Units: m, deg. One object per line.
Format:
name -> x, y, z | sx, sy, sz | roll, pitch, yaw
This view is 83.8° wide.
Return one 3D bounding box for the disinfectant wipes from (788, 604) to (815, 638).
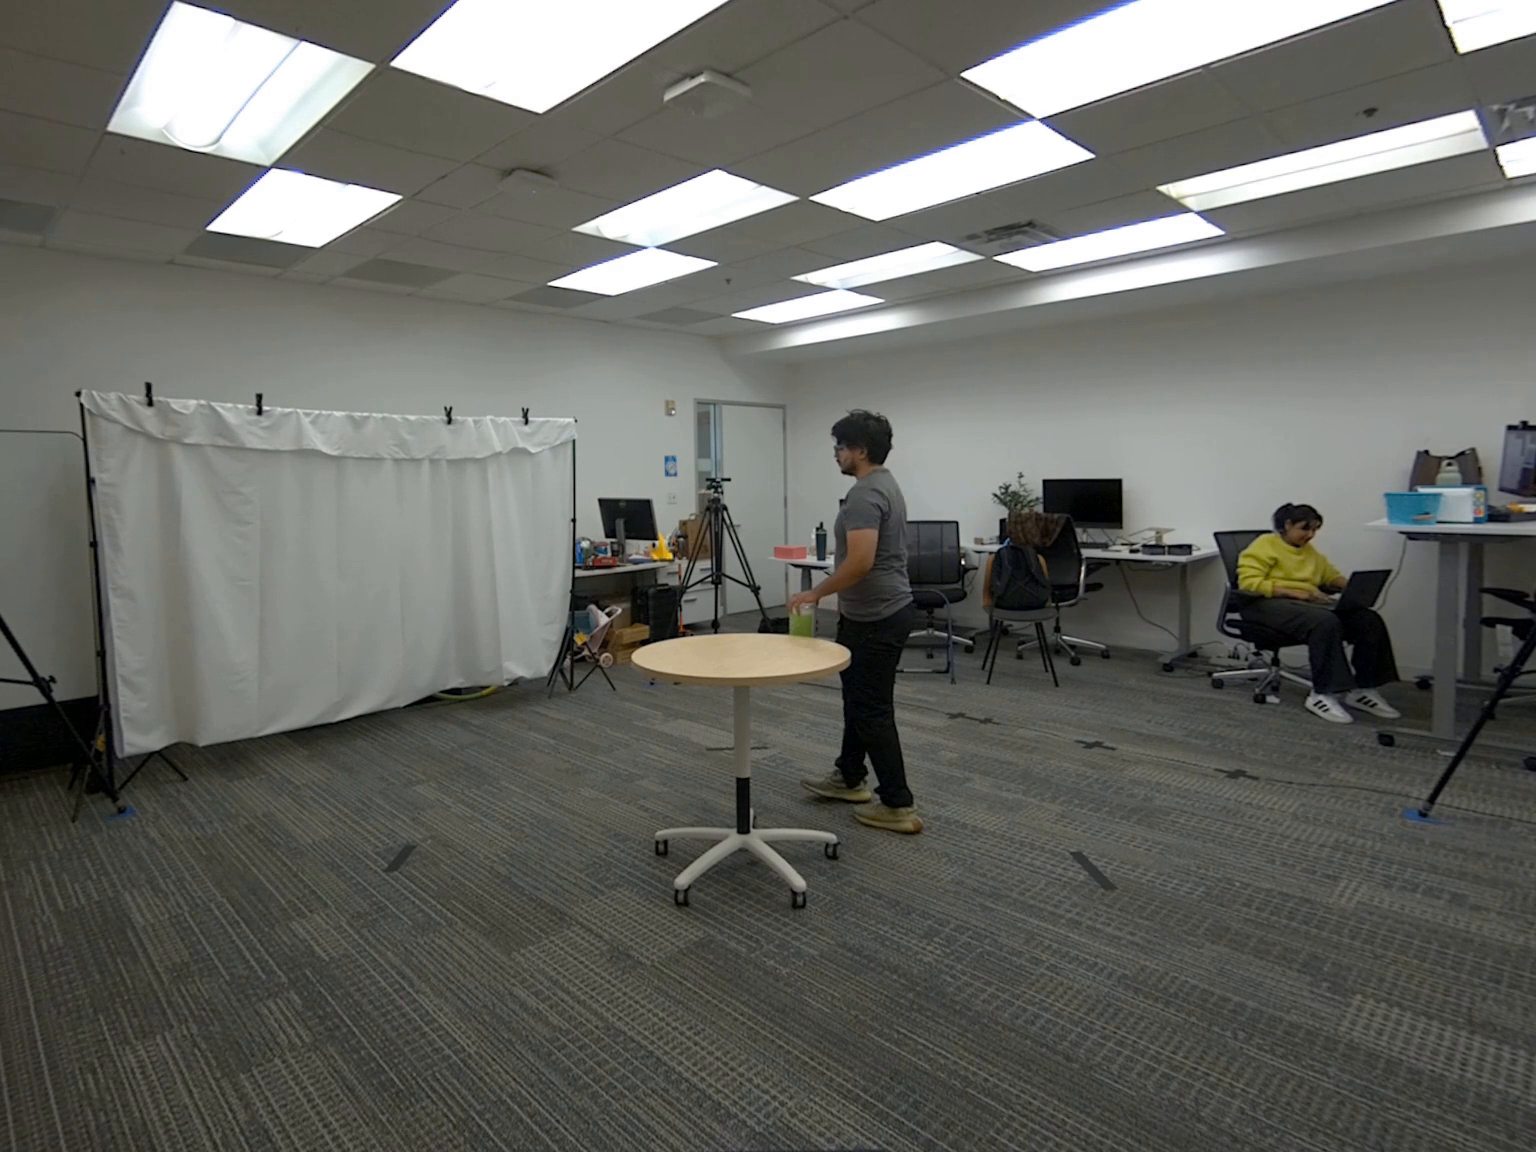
disinfectant wipes -> 0.141, 0.202, 3.460 | 0.118, 0.214, 0.120 | 0, 18, -2
